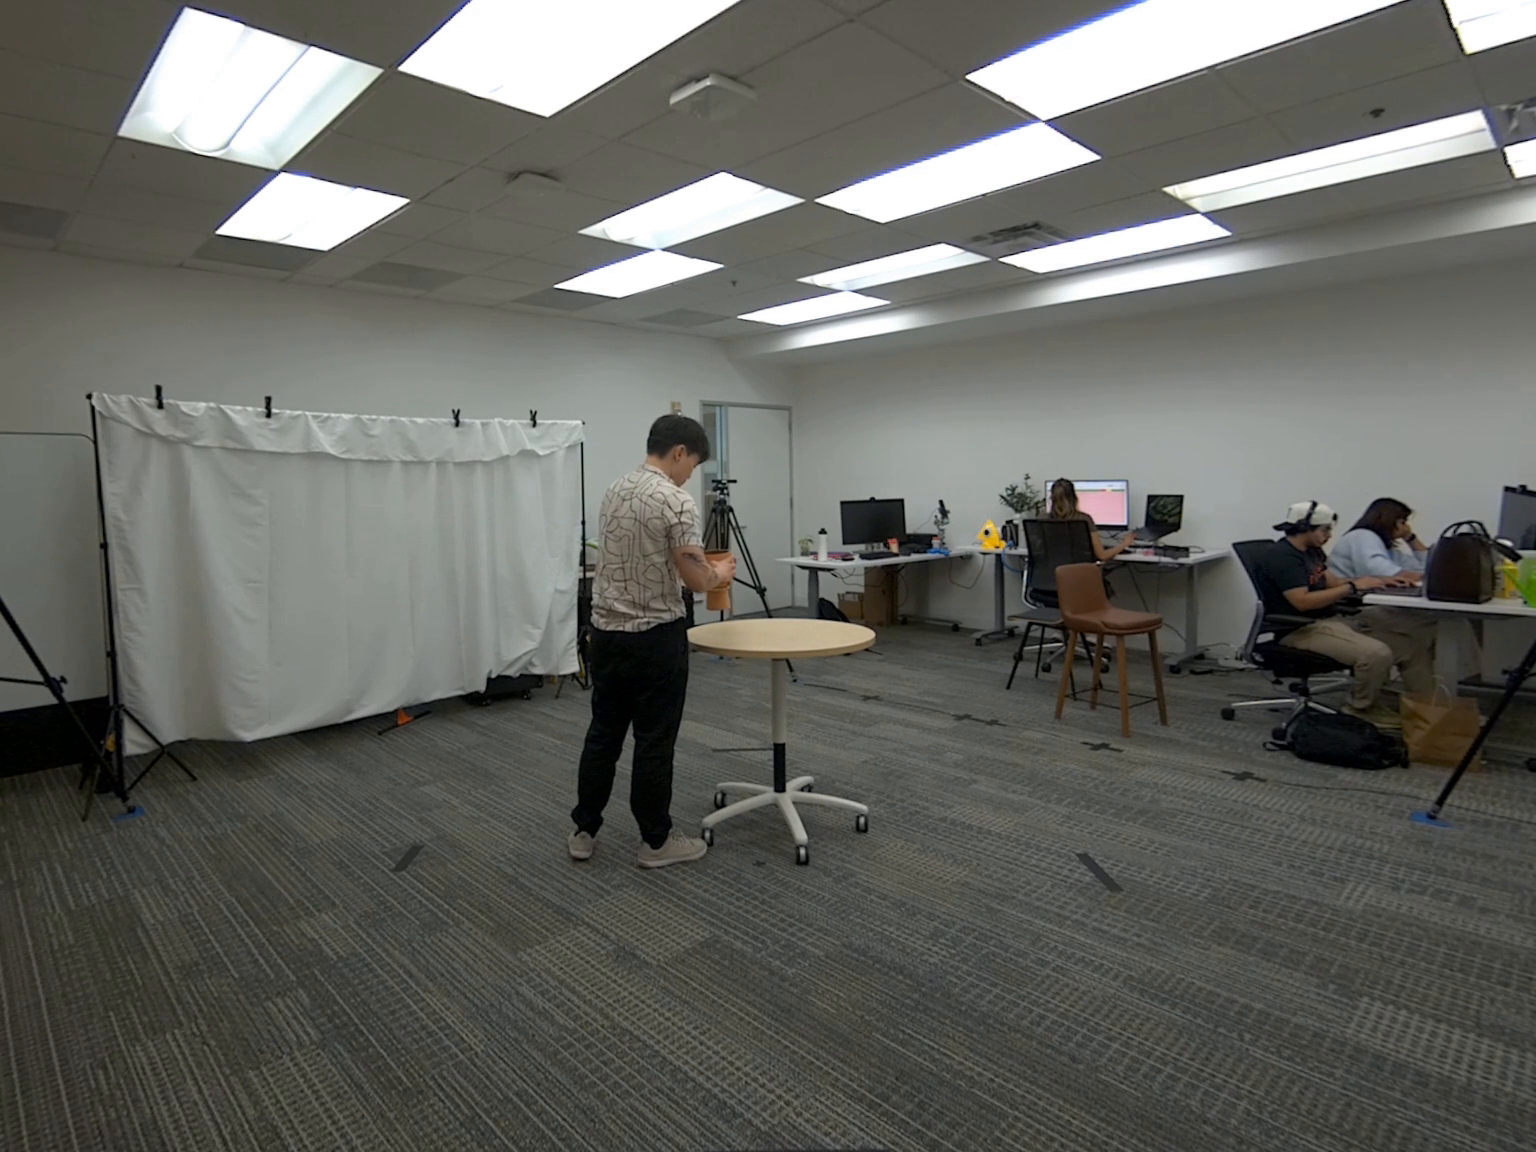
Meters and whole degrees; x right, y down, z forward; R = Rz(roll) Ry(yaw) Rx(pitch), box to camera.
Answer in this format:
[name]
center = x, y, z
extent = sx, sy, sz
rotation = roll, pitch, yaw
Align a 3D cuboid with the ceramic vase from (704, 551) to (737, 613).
[ceramic vase]
center = -0.197, 0.016, 3.333
extent = 0.158, 0.218, 0.136
rotation = -6, 9, -3
